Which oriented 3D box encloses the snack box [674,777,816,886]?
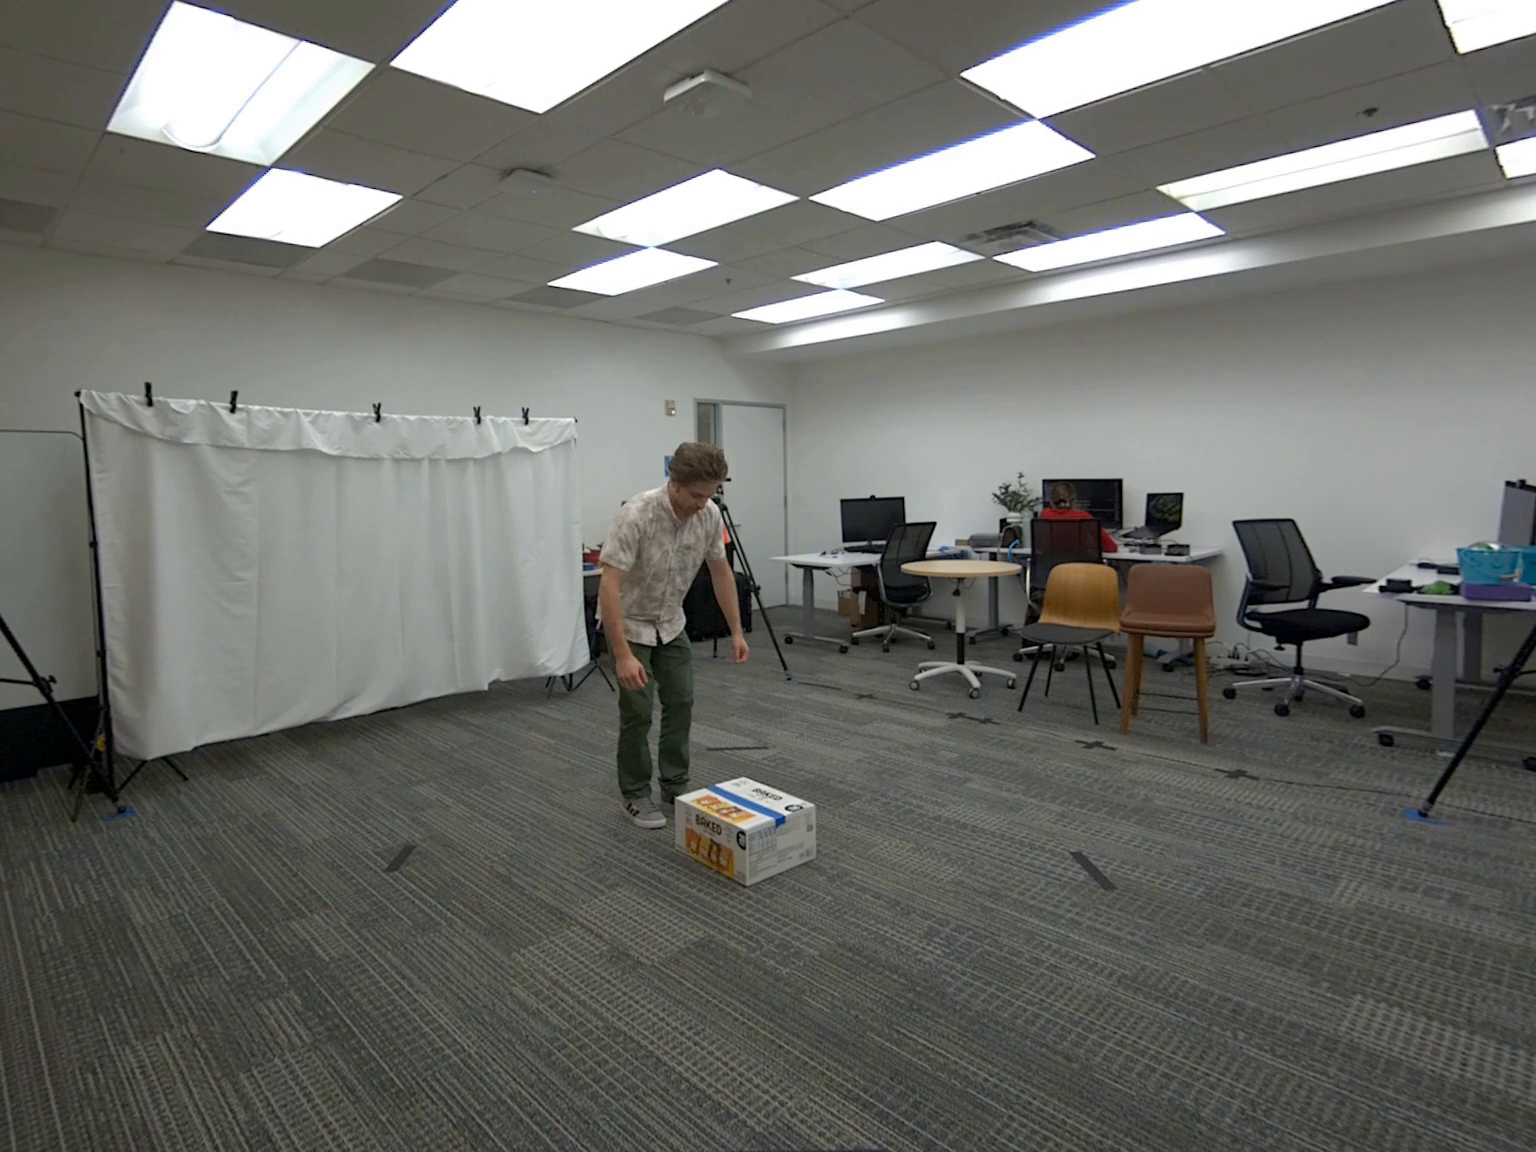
[{"bbox_3d":[-0.083,0.936,3.166,0.331,0.205,0.418,-6,8,-41],"label":"snack box"}]
